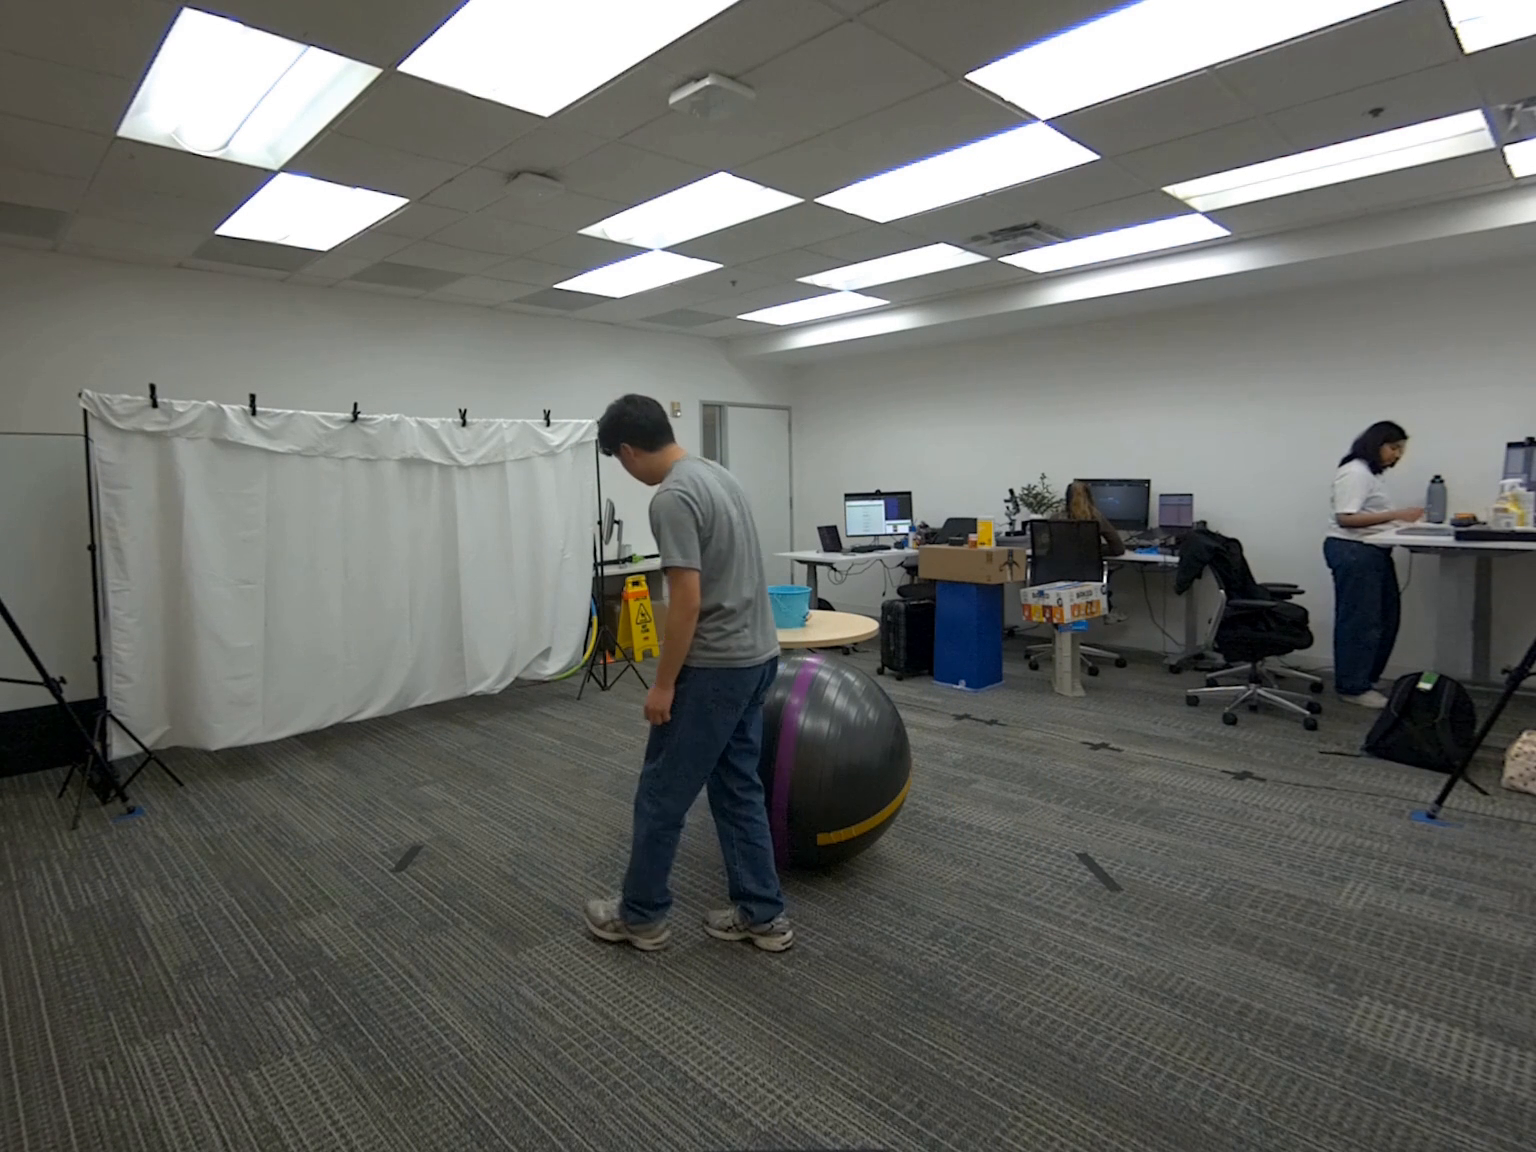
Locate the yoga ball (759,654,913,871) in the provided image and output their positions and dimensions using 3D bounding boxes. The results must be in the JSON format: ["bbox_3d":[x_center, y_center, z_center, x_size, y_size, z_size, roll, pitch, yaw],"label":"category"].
[{"bbox_3d":[0.142,0.670,3.133,0.757,0.755,0.762,-1,5,-2],"label":"yoga ball"}]
